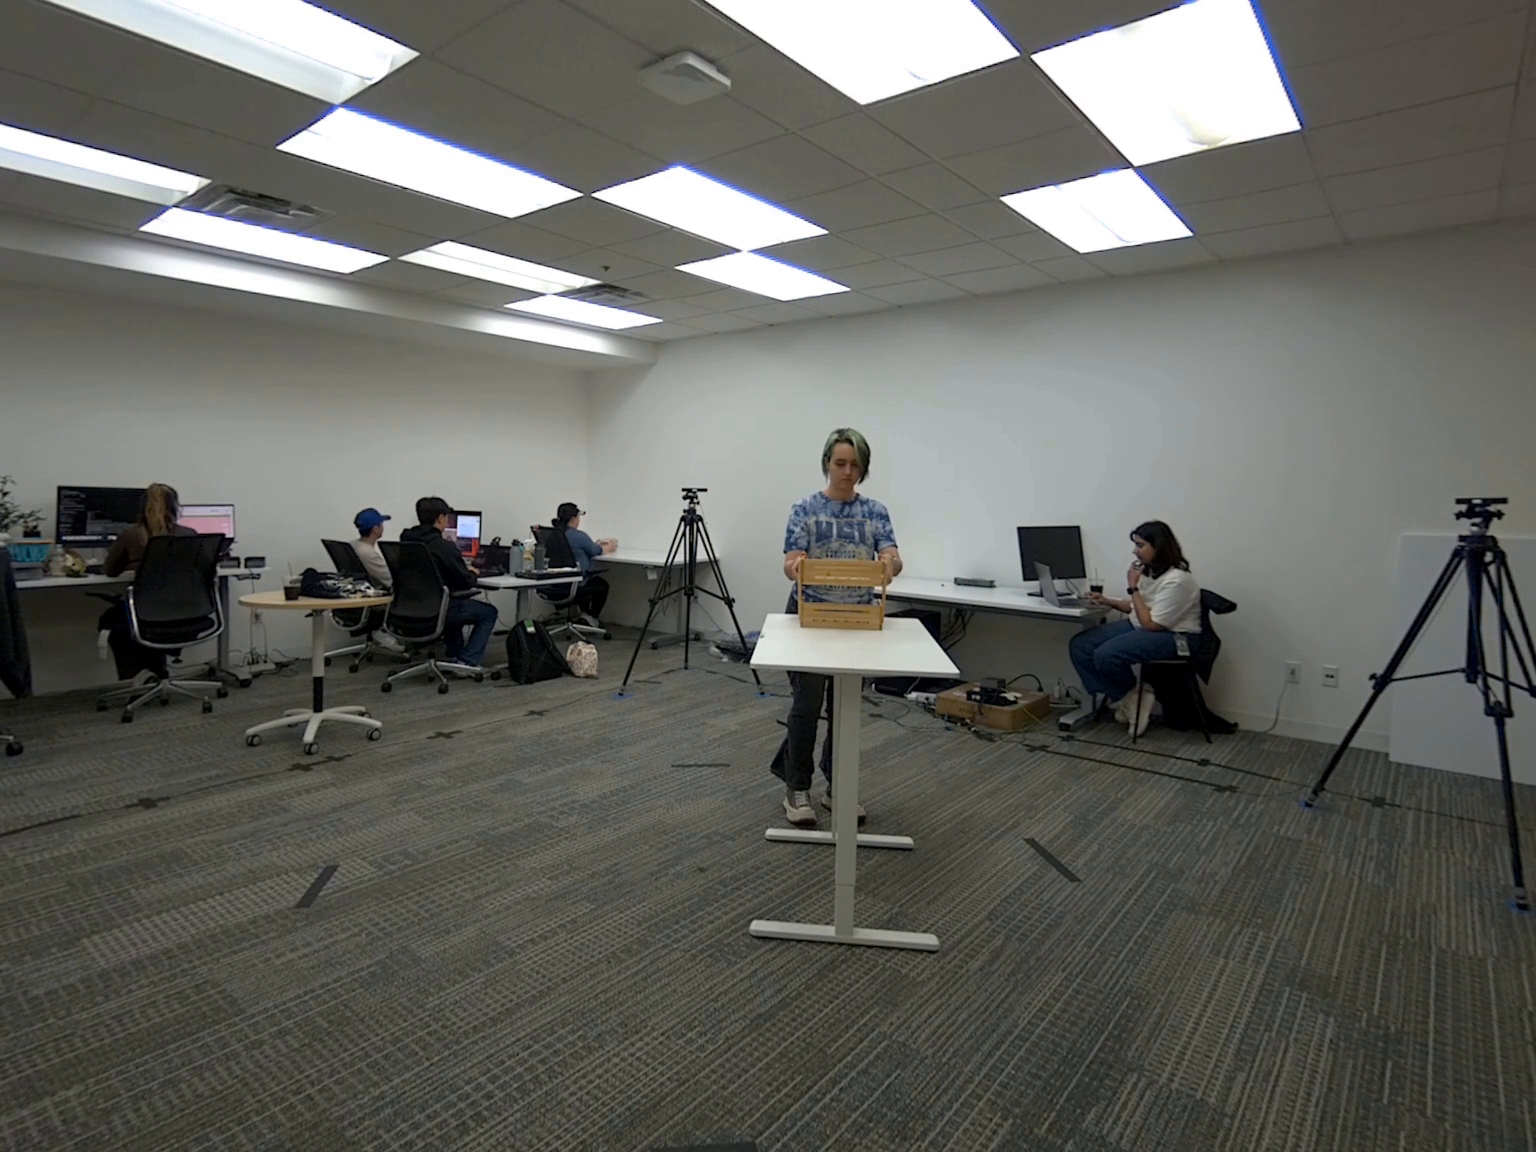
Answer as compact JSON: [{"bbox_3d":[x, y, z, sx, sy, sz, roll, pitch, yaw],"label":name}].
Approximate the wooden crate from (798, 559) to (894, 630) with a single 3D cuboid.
[{"bbox_3d":[0.277,0.048,3.236,0.327,0.272,0.301,2,5,6],"label":"wooden crate"}]
